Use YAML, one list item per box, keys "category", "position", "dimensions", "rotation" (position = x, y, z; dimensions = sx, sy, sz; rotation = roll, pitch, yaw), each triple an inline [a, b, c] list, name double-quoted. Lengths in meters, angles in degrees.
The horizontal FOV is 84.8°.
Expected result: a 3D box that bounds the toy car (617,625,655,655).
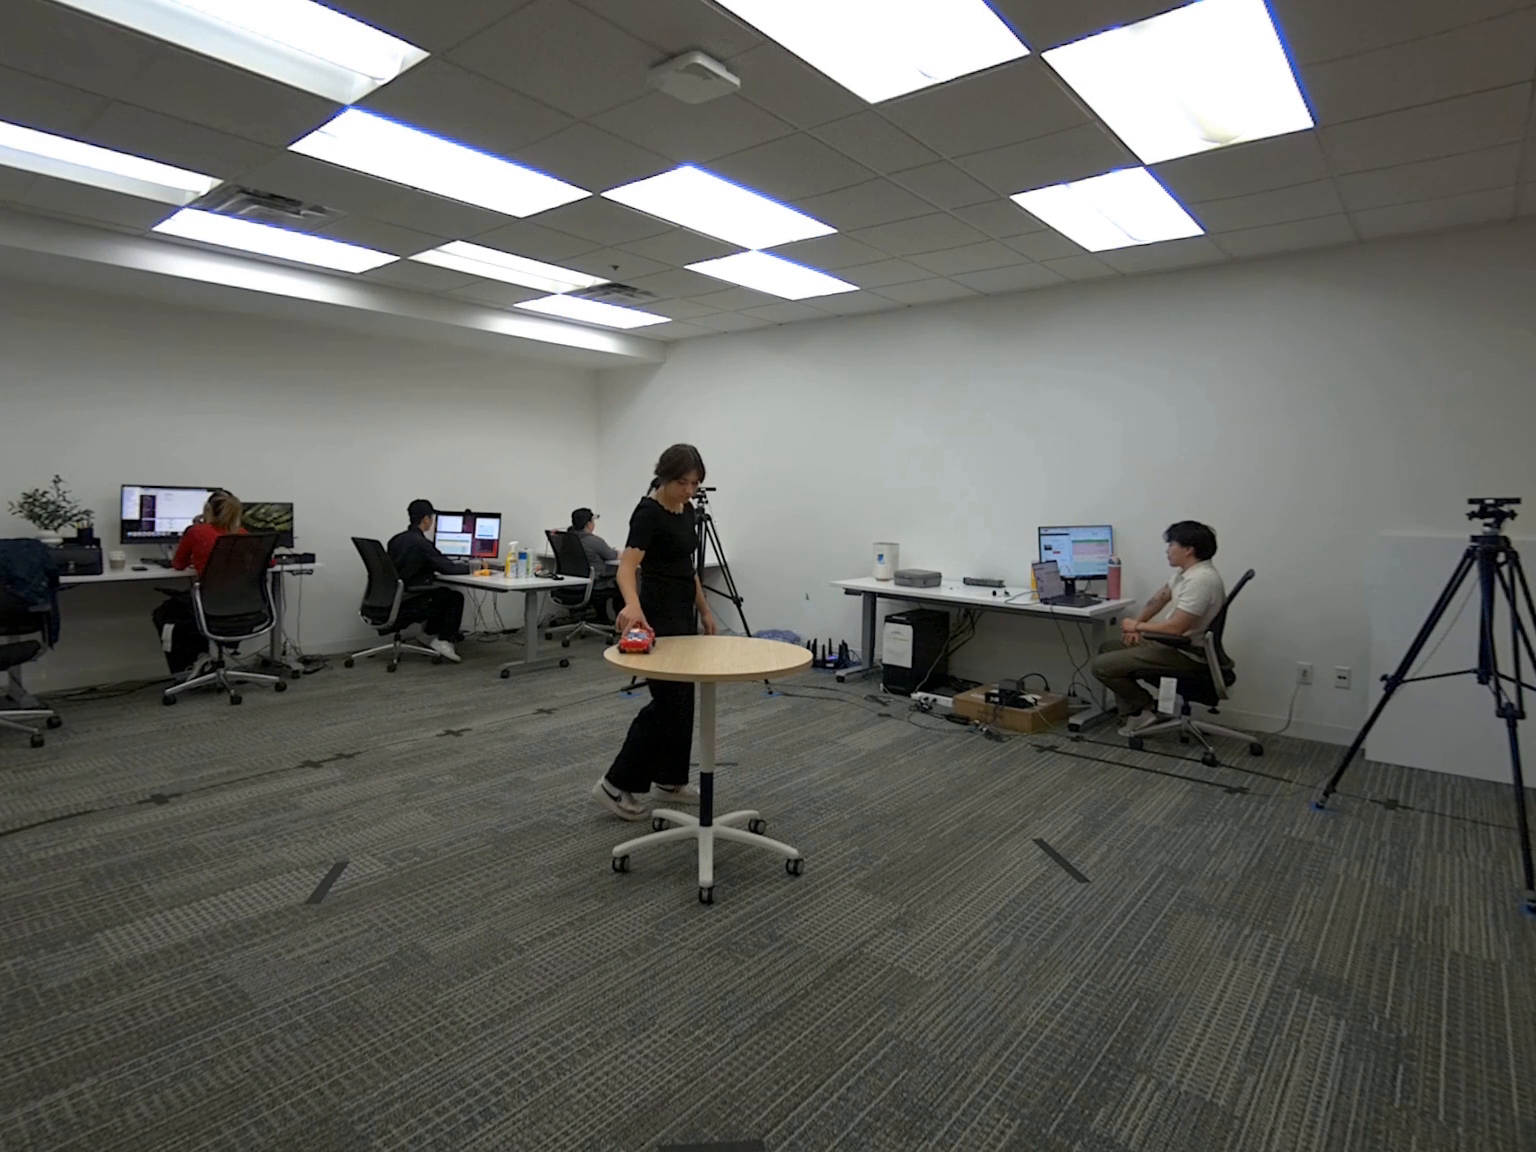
- category: "toy car"
  position: [-0.493, 0.238, 3.198]
  dimensions: [0.130, 0.082, 0.258]
  rotation: [-1, 17, -1]
